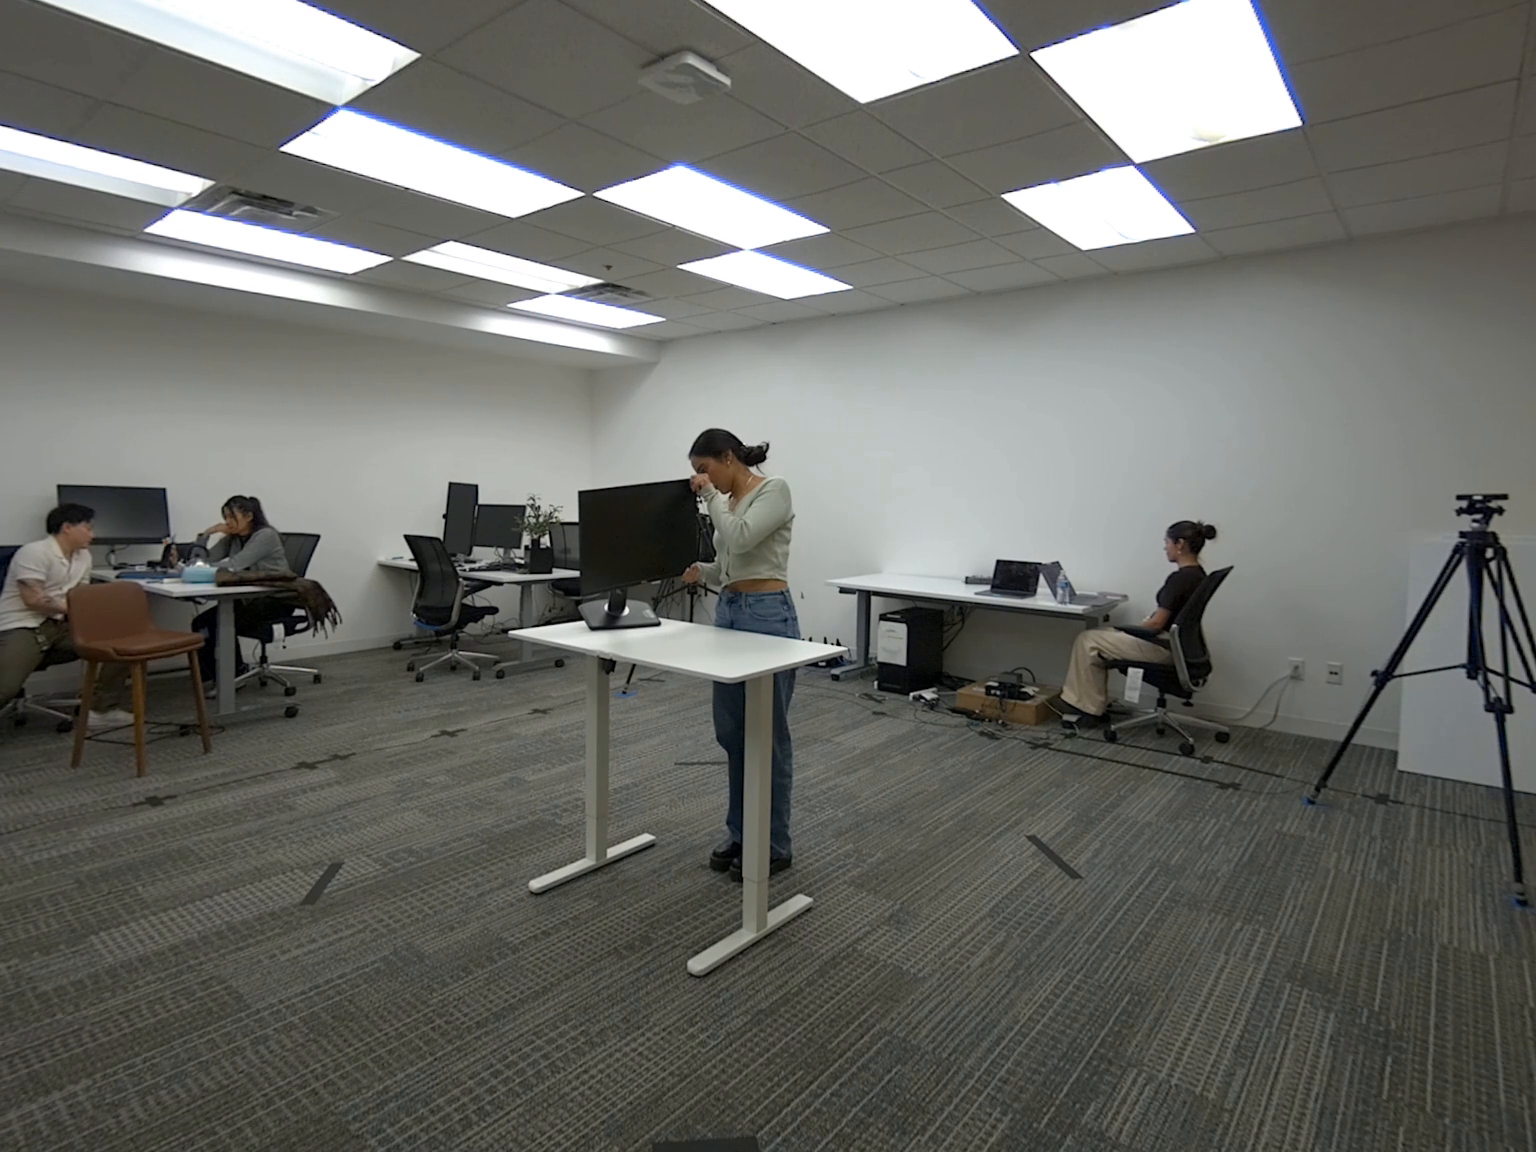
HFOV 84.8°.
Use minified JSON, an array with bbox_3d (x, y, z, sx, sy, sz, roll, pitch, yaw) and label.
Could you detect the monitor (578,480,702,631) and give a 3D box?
[{"bbox_3d":[-0.491,-0.078,3.003,0.194,0.516,0.525,26,24,35],"label":"monitor"}]
